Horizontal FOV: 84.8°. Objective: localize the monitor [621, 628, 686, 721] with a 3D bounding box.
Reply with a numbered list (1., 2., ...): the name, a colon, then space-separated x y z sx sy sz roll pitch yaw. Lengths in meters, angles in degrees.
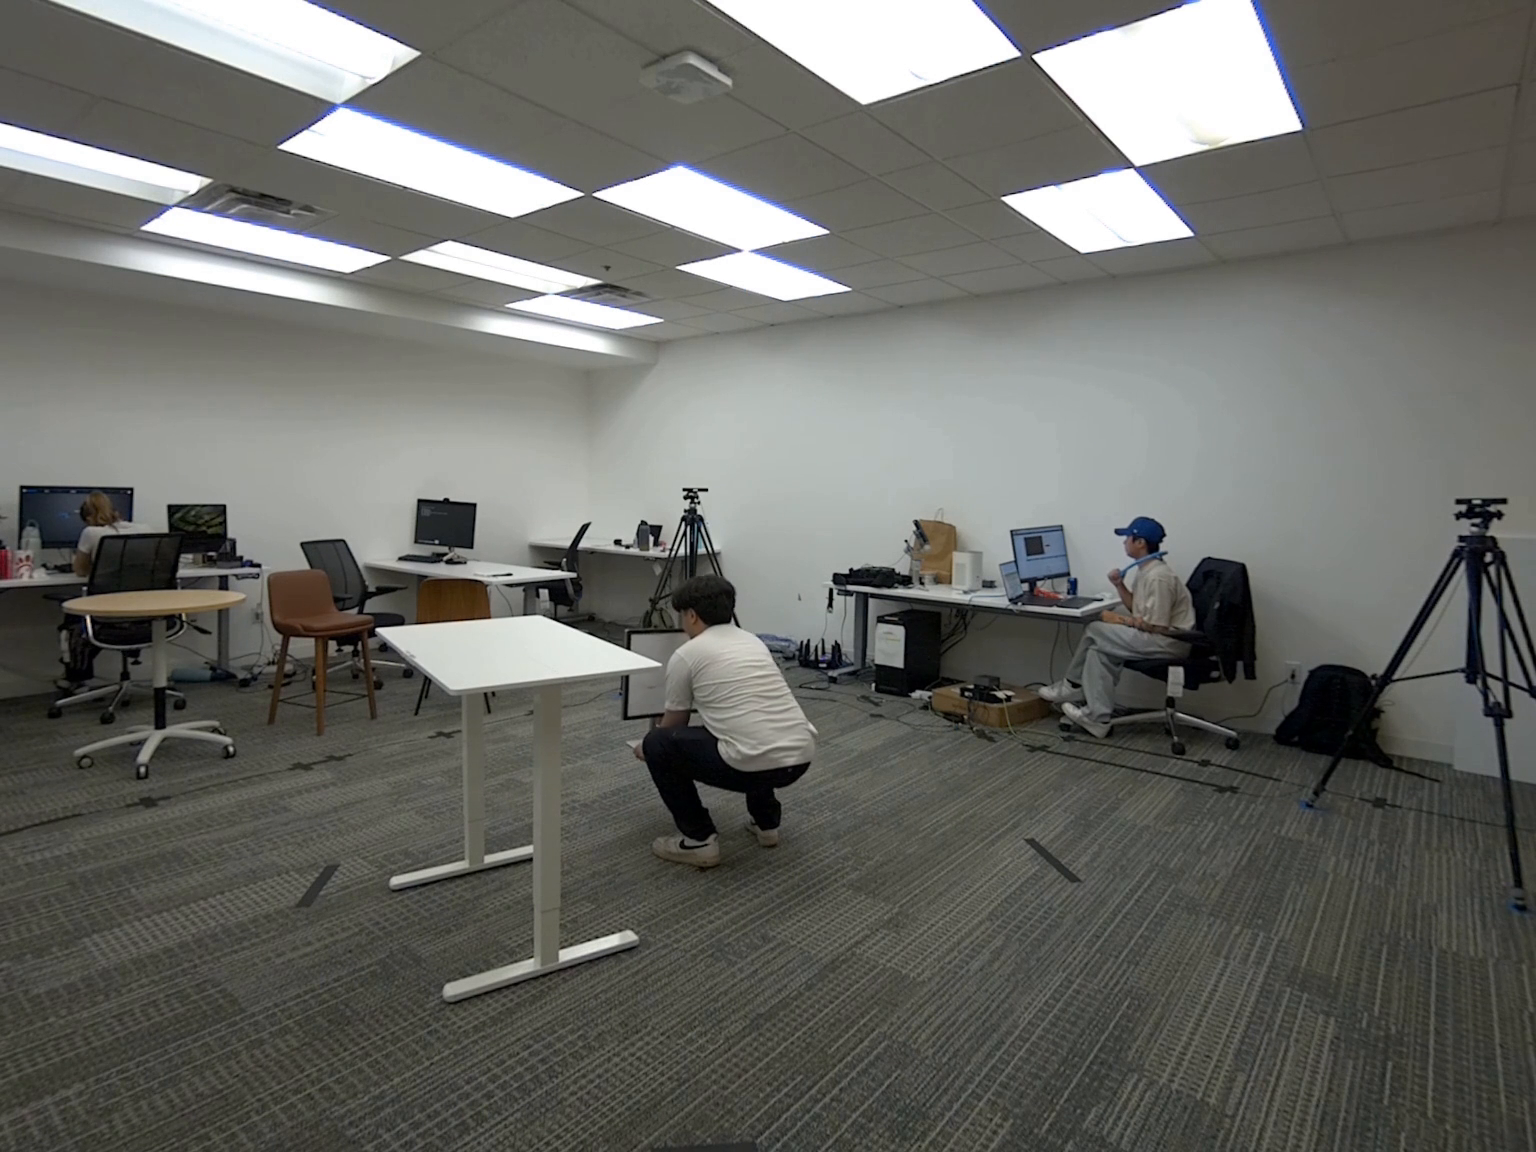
1. monitor: -0.442 0.478 3.655 0.547 0.553 0.217 3 3 -42
